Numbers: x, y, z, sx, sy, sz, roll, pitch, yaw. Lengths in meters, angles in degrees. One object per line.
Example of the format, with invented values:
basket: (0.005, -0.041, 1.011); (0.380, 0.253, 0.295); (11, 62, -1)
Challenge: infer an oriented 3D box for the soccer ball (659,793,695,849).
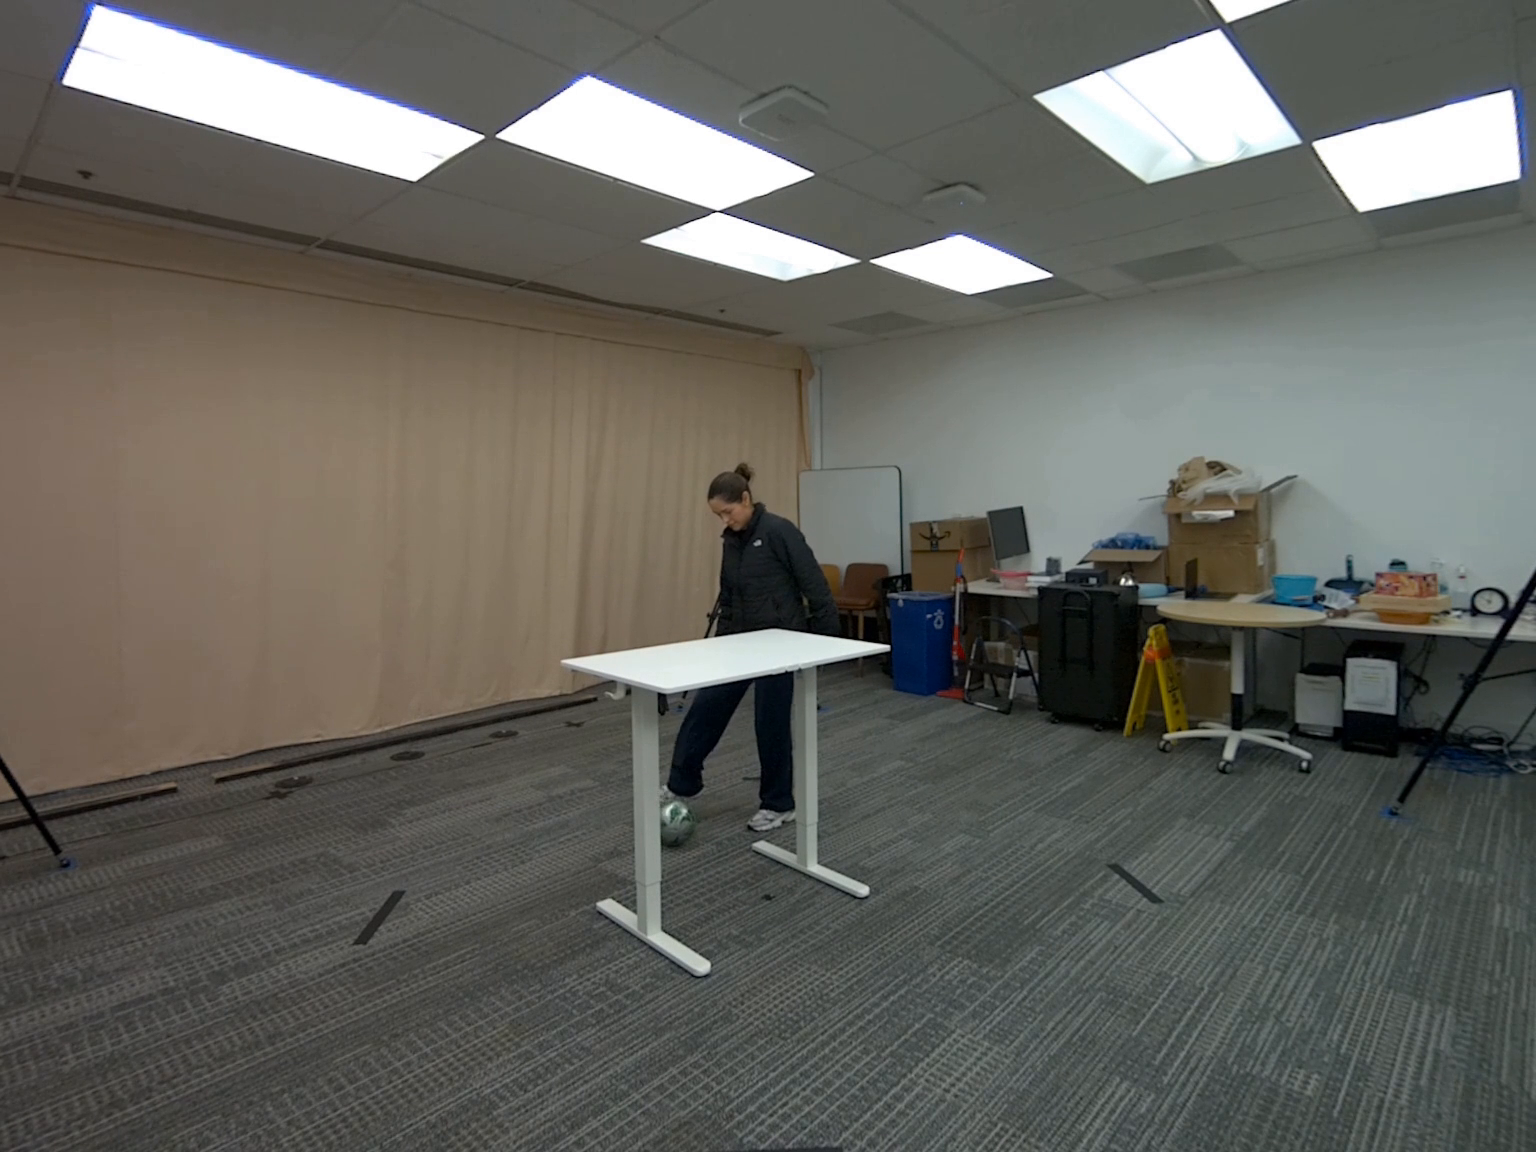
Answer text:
soccer ball: (-0.384, 1.009, 3.464); (0.187, 0.187, 0.188); (-1, 4, -2)
